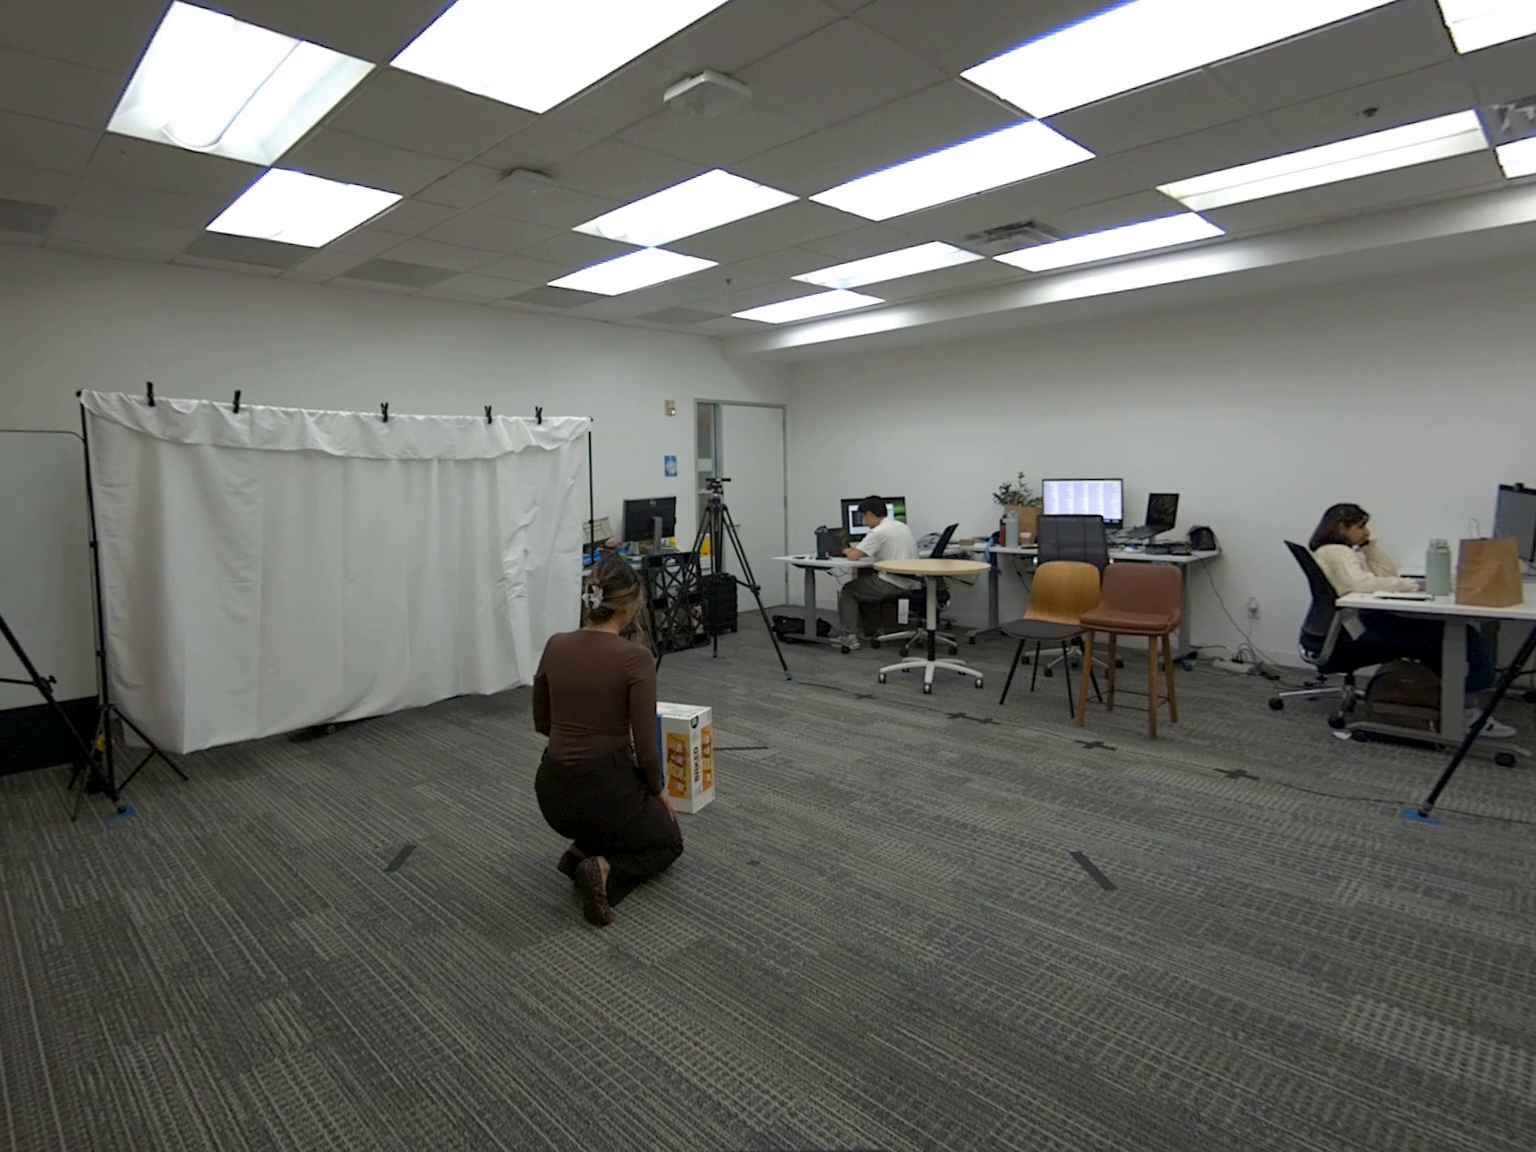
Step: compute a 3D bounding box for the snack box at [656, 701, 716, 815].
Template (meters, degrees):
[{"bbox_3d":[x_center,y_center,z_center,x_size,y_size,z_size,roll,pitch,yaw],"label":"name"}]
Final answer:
[{"bbox_3d":[-0.432,0.775,3.713,0.348,0.404,0.201,1,5,26],"label":"snack box"}]
